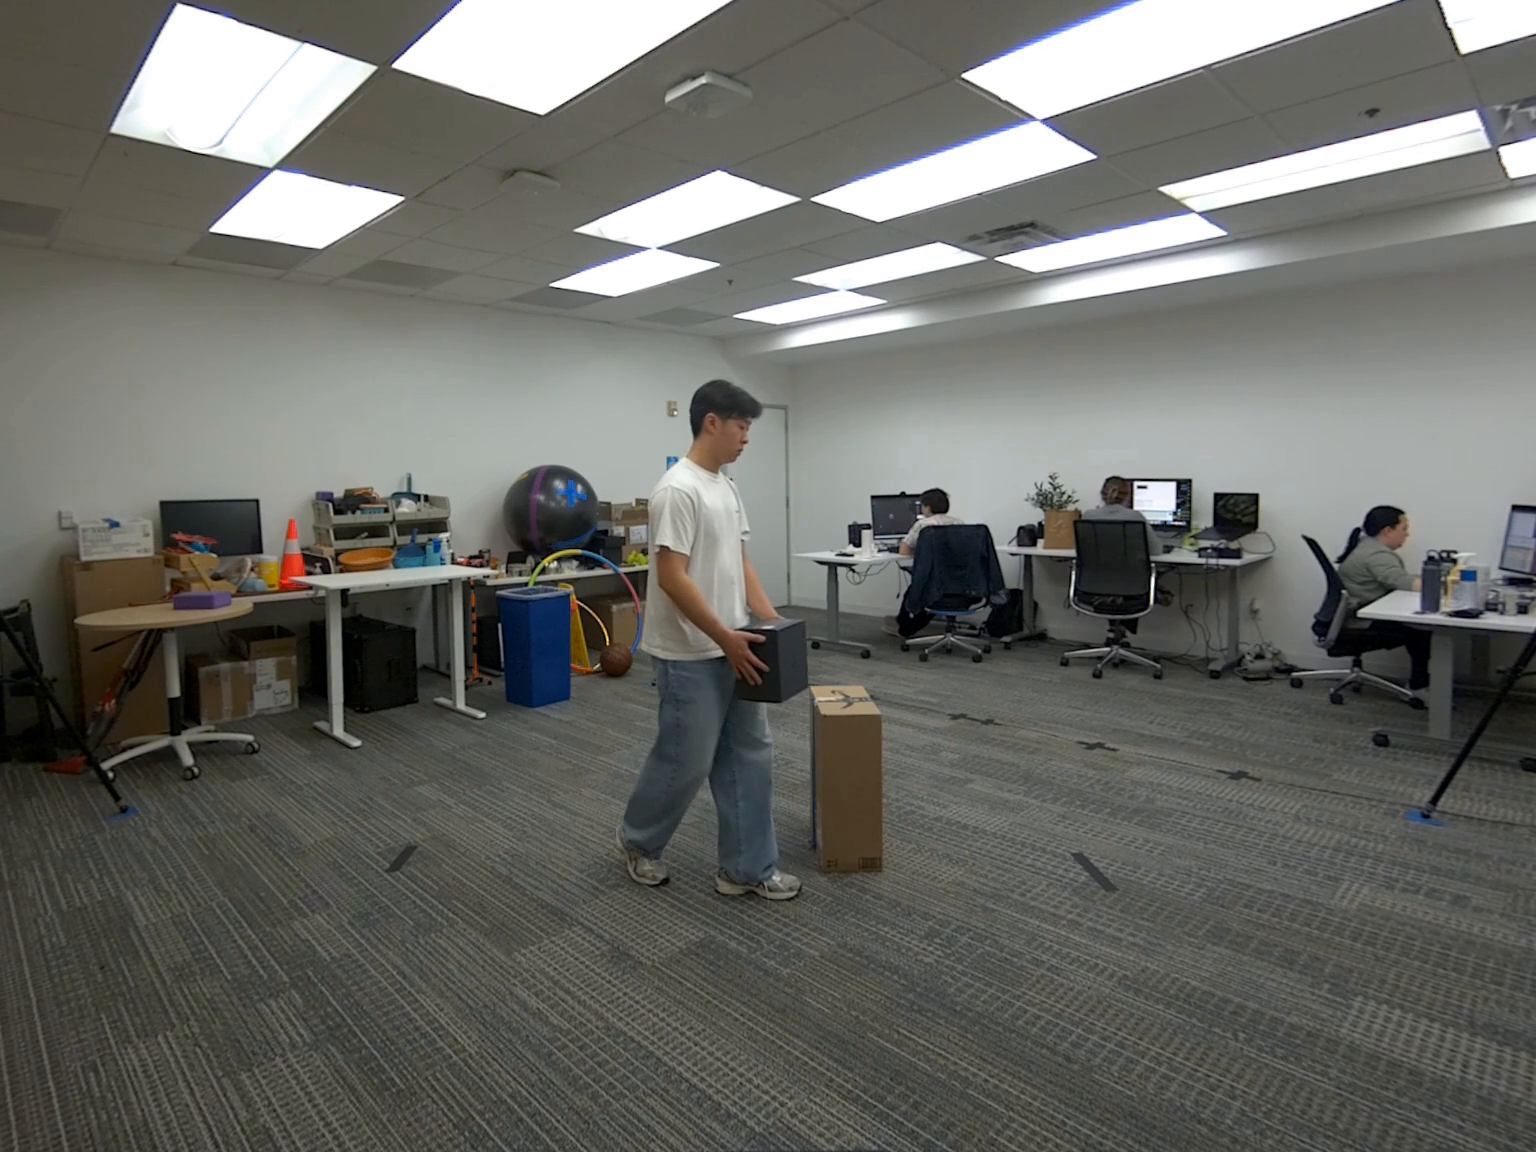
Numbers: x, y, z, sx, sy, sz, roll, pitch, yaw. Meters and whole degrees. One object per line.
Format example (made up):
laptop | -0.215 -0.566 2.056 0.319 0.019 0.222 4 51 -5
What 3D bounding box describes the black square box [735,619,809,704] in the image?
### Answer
black square box | 0.014 0.261 2.755 0.159 0.227 0.212 -1 3 26
